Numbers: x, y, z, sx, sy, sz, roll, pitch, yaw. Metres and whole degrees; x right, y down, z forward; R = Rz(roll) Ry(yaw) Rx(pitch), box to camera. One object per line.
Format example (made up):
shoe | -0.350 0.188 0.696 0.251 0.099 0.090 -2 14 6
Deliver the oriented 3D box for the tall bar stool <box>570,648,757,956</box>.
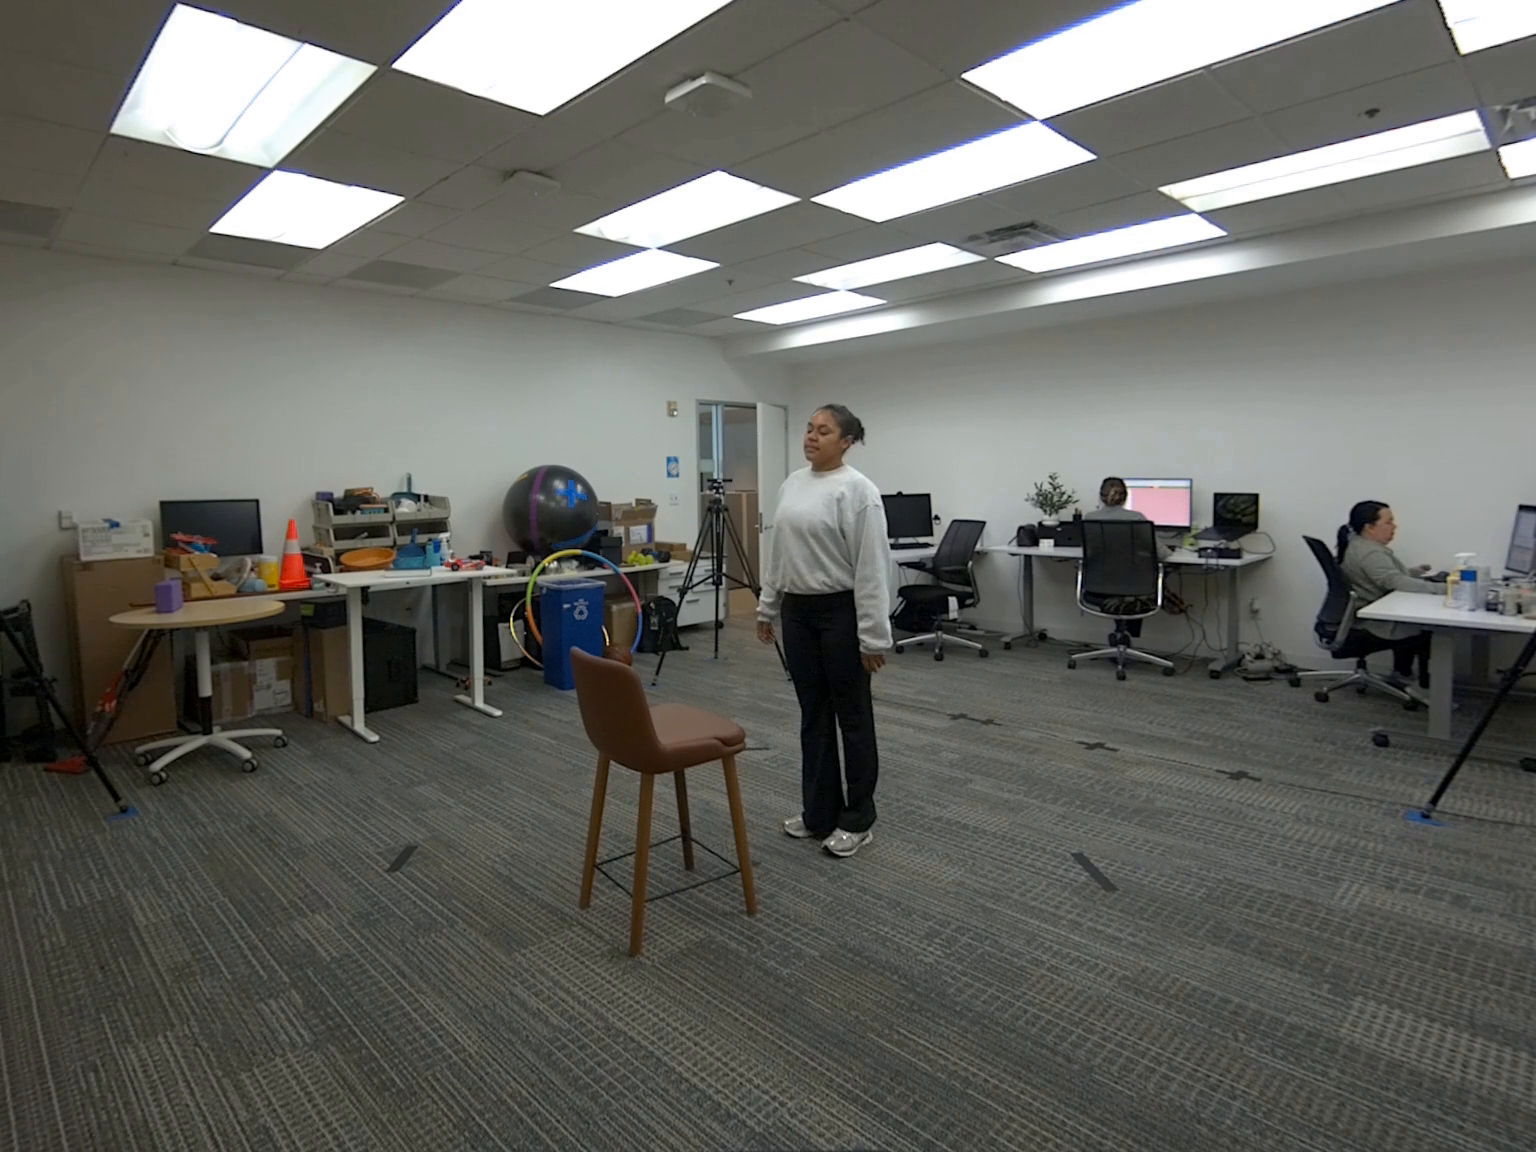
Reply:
tall bar stool | -0.344 0.656 2.757 0.456 0.885 0.470 -7 7 -36
